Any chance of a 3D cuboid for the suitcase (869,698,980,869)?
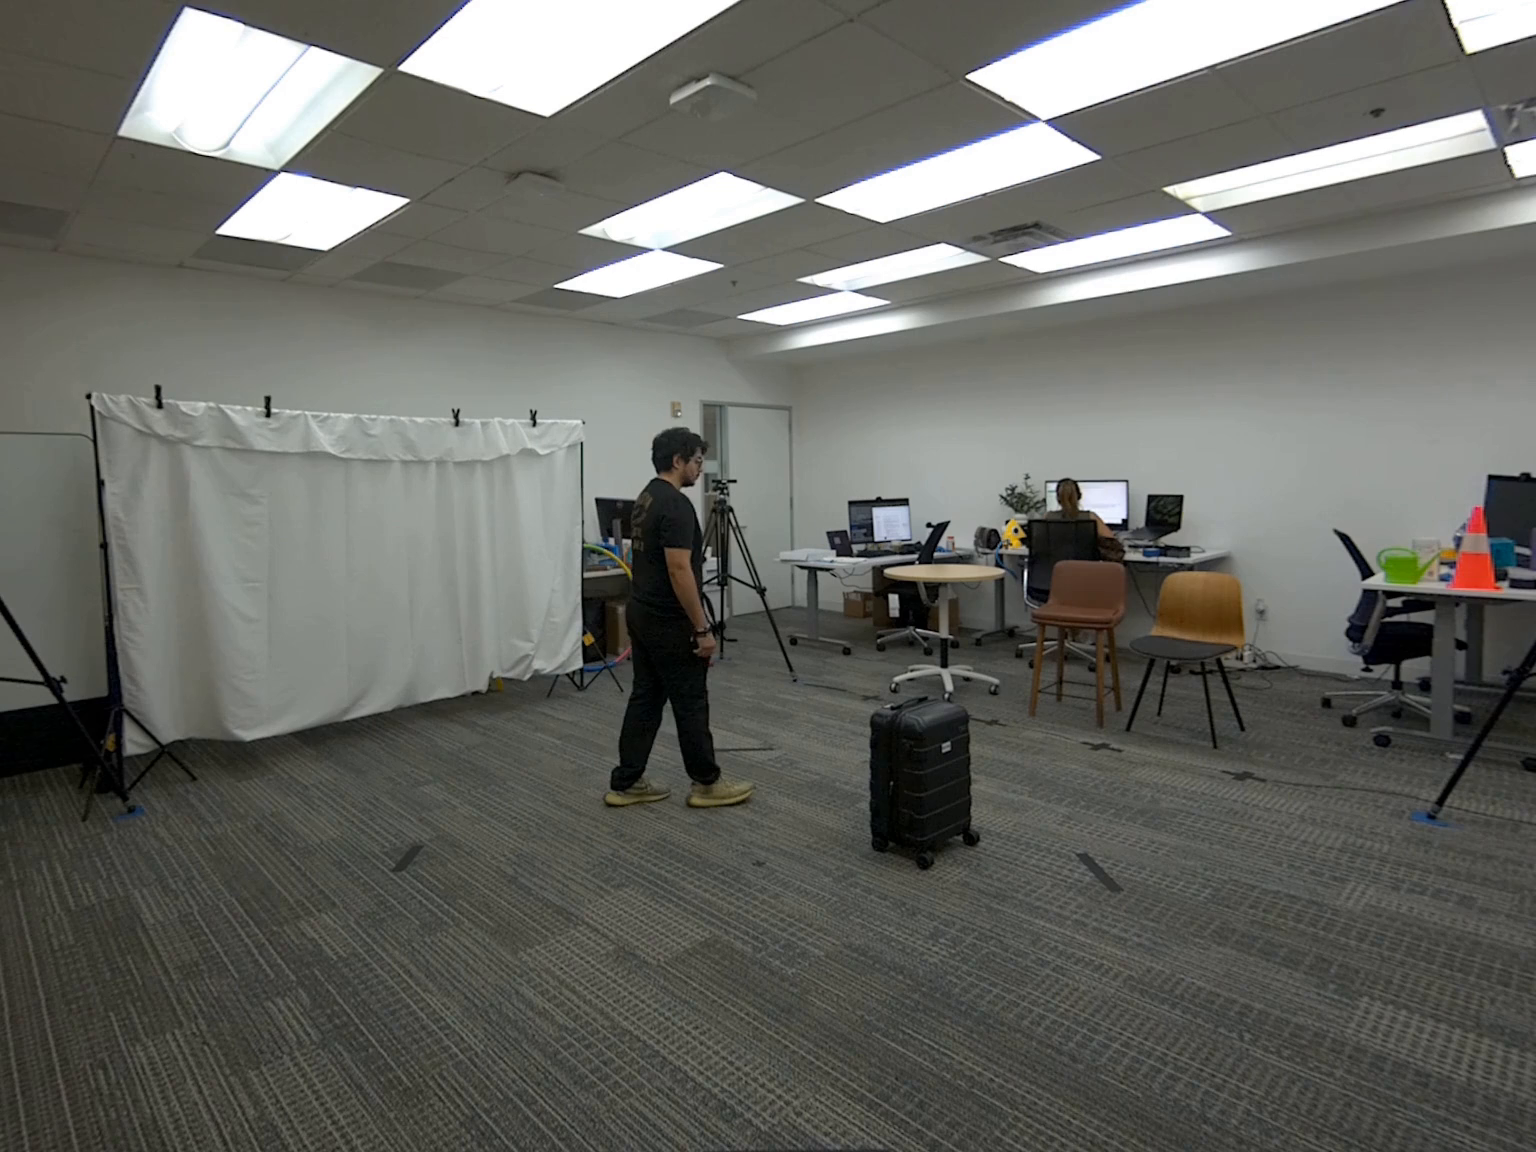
[{"bbox_3d":[0.585,0.747,3.222,0.365,0.548,0.255,-4,3,-43],"label":"suitcase"}]
